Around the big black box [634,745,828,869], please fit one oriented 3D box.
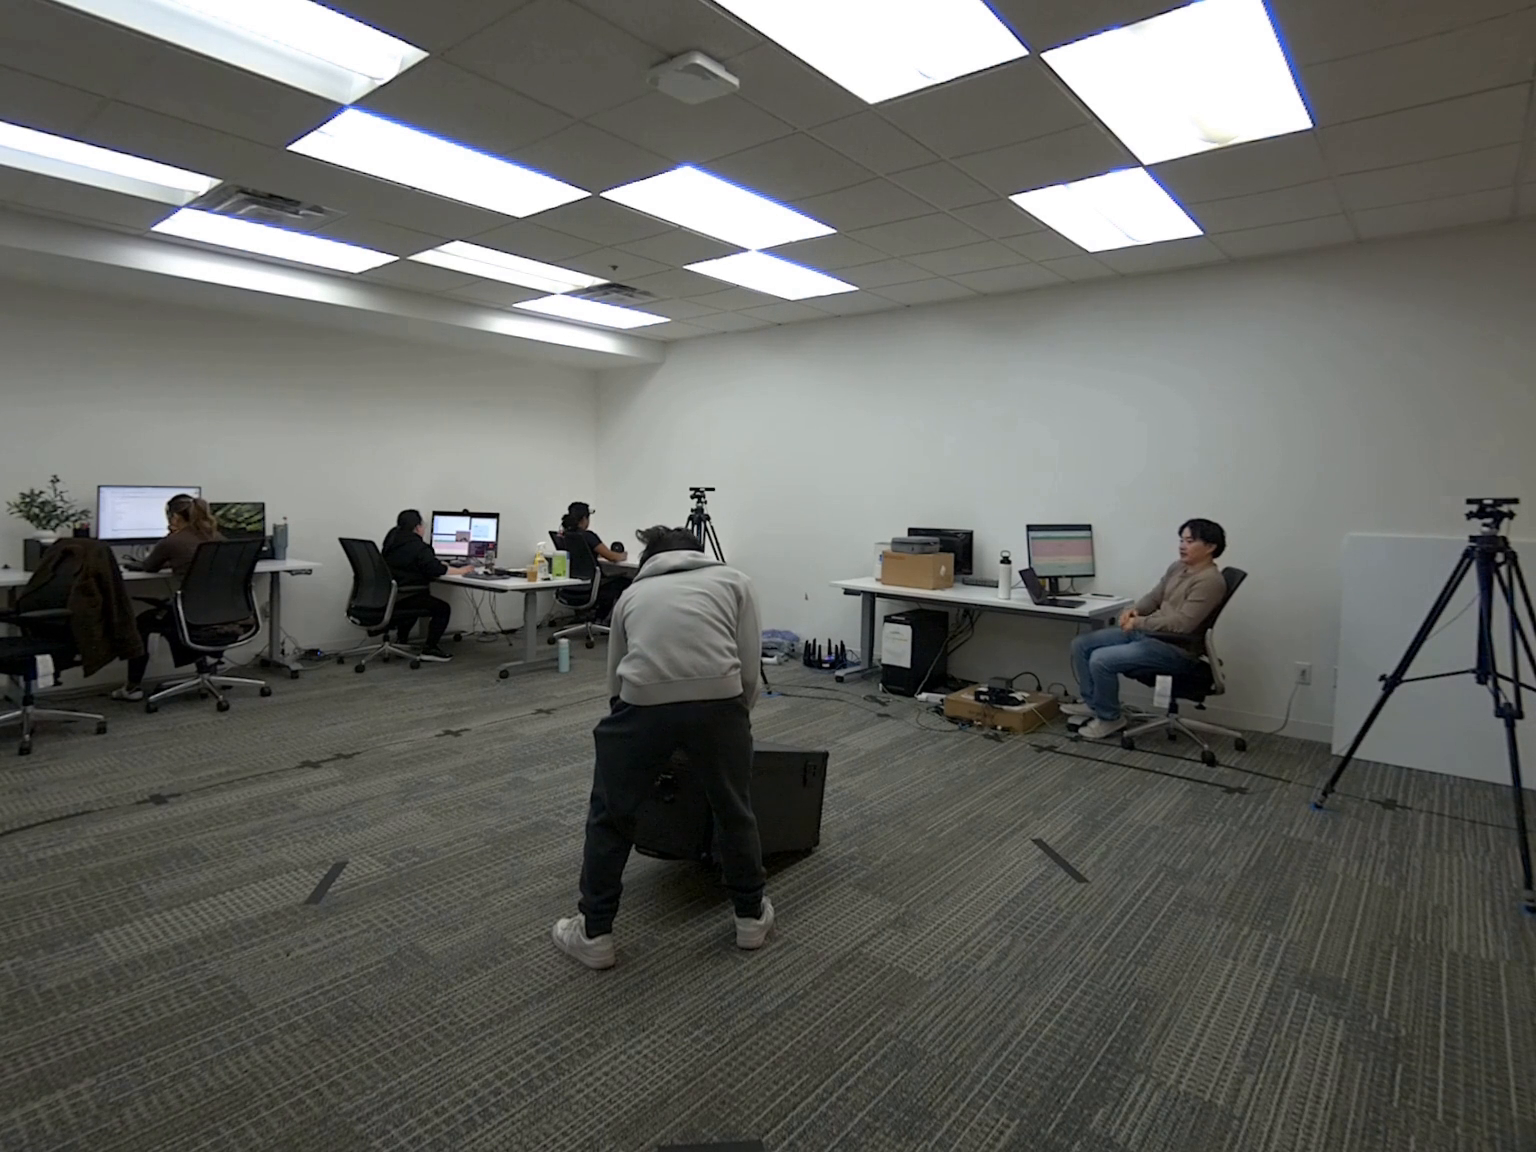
[{"bbox_3d":[-0.171,0.805,3.159,0.537,0.399,0.830,2,-9,33],"label":"big black box"}]
